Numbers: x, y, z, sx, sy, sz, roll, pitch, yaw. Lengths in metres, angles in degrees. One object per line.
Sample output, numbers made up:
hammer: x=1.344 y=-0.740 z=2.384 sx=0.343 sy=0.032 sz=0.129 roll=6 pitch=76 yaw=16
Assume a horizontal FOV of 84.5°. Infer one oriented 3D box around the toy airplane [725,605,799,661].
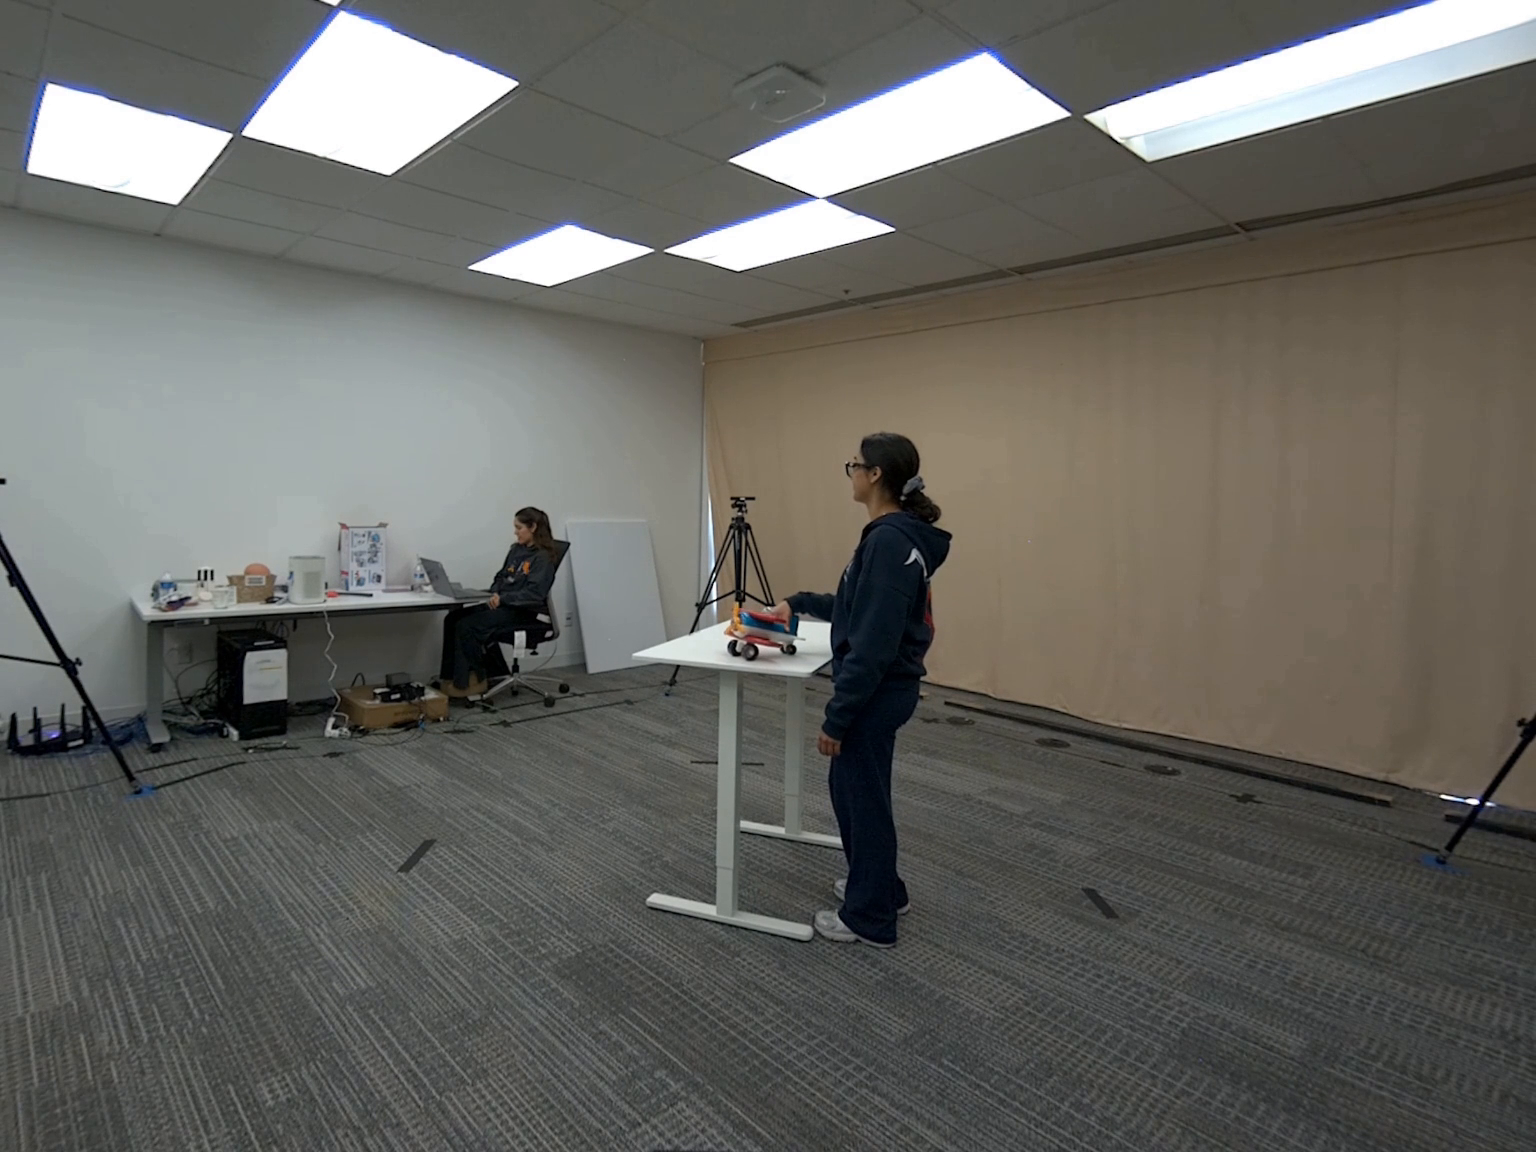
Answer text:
toy airplane: x=-0.019 y=0.186 z=2.760 sx=0.256 sy=0.156 sz=0.255 roll=5 pitch=7 yaw=28
